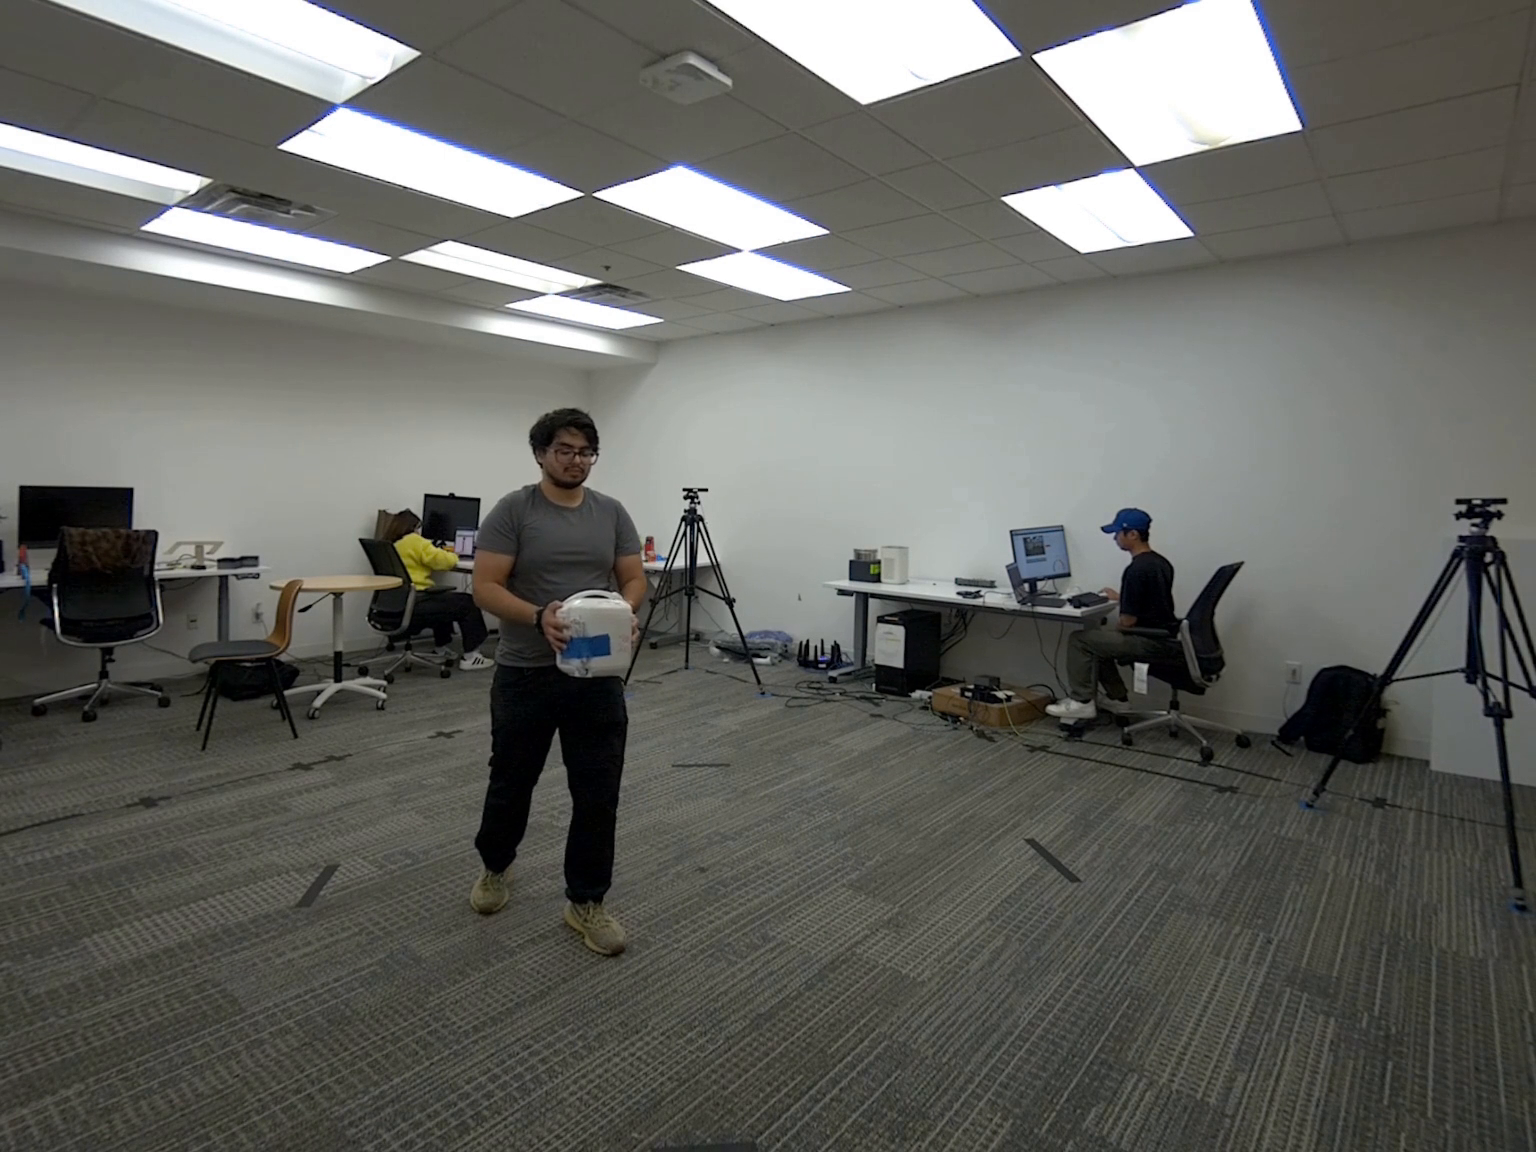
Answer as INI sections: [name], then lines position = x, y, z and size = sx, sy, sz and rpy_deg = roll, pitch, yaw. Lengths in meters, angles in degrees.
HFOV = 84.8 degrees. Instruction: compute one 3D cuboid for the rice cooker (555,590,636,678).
[rice cooker]
position = -0.501, 0.151, 2.377
size = 0.214, 0.233, 0.224
rpy_deg = 2, -2, -36
